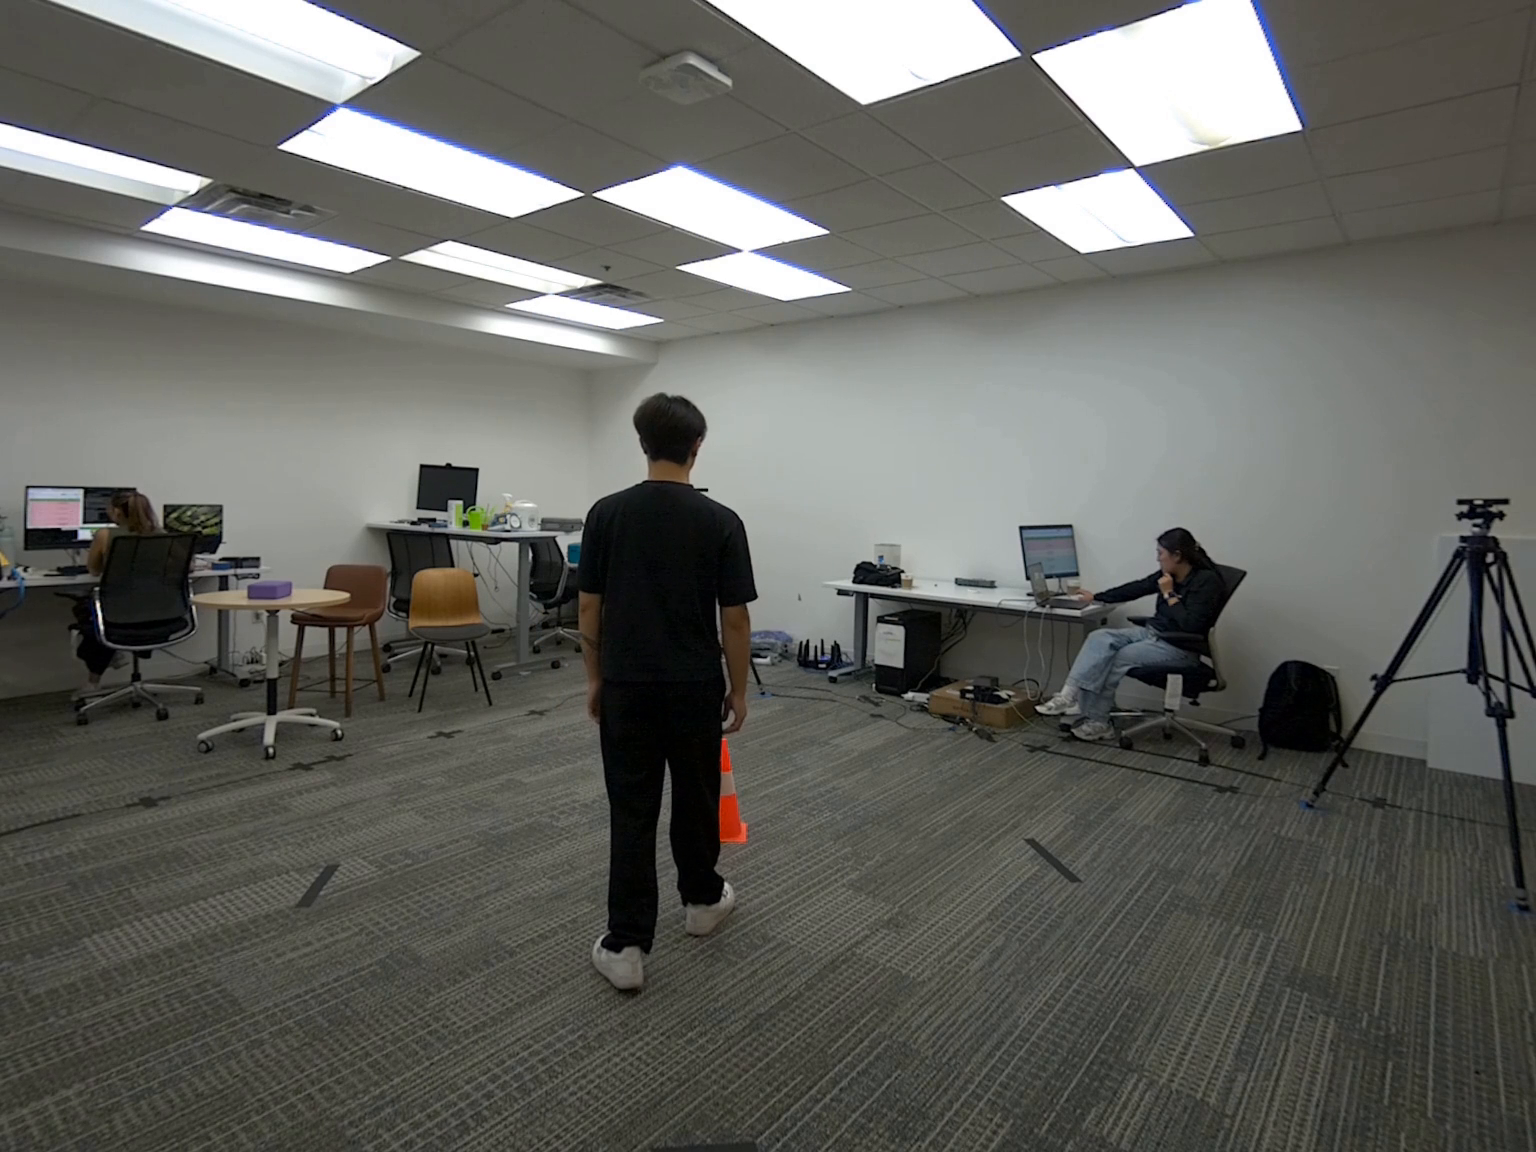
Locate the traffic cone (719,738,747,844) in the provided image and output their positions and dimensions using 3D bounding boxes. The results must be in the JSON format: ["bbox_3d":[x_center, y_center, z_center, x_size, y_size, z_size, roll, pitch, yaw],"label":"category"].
[{"bbox_3d":[-0.175,0.851,3.447,0.205,0.382,0.204,2,3,0],"label":"traffic cone"}]
